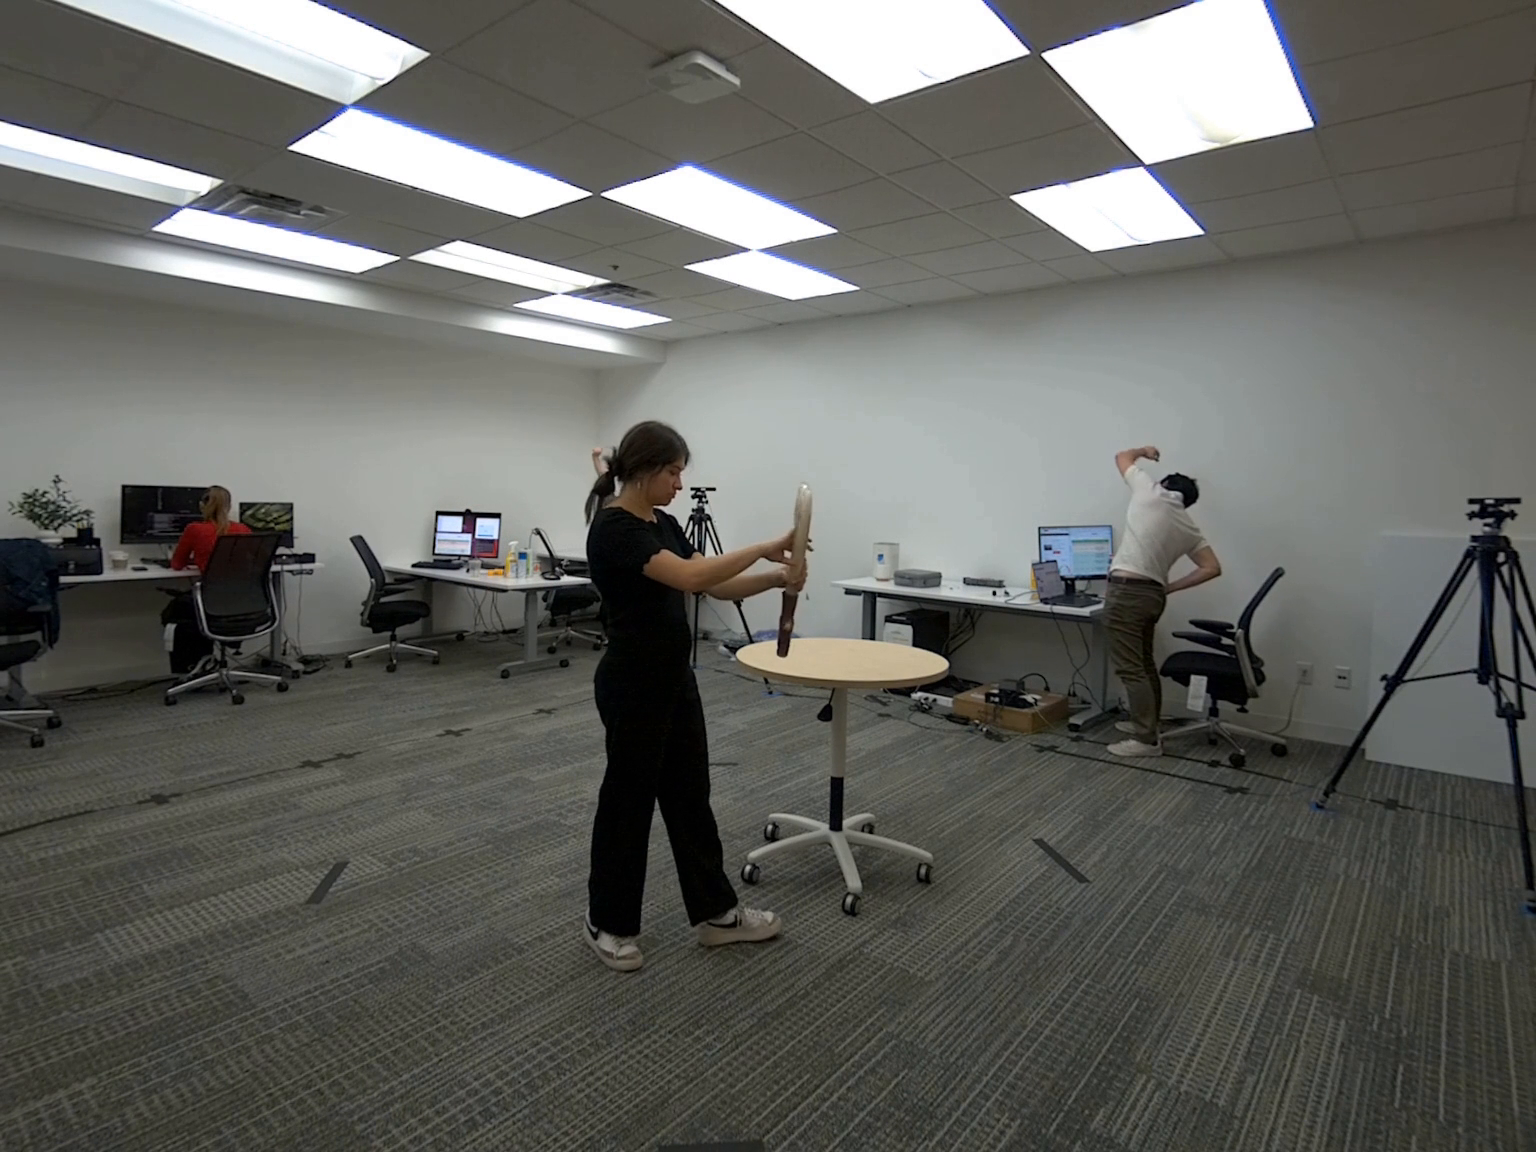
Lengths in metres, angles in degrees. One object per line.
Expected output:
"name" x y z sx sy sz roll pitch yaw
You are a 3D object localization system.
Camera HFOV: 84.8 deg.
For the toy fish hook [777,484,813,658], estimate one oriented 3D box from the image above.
"toy fish hook" 0.069 -0.017 2.418 0.048 0.499 0.227 9 19 0
